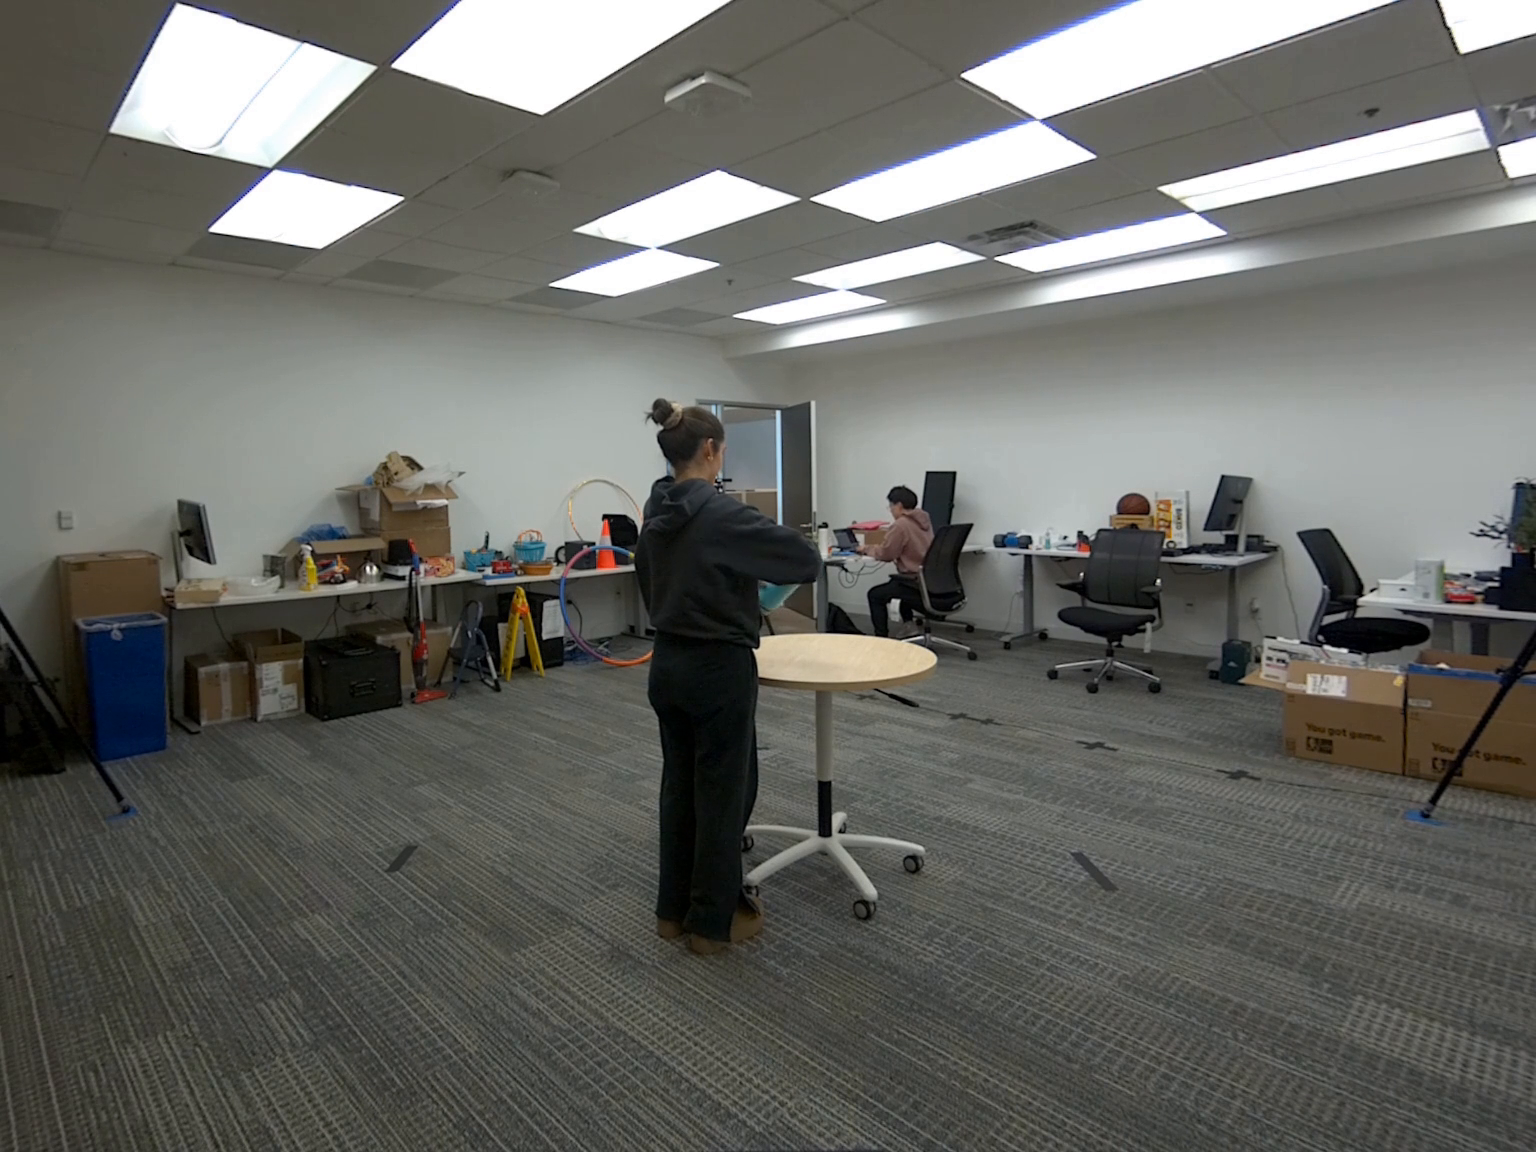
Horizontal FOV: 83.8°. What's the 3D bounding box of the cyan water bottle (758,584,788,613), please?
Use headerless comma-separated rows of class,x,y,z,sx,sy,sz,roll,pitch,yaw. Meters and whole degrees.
cyan water bottle,-0.011,0.040,2.786,0.092,0.093,0.281,-1,-5,0
